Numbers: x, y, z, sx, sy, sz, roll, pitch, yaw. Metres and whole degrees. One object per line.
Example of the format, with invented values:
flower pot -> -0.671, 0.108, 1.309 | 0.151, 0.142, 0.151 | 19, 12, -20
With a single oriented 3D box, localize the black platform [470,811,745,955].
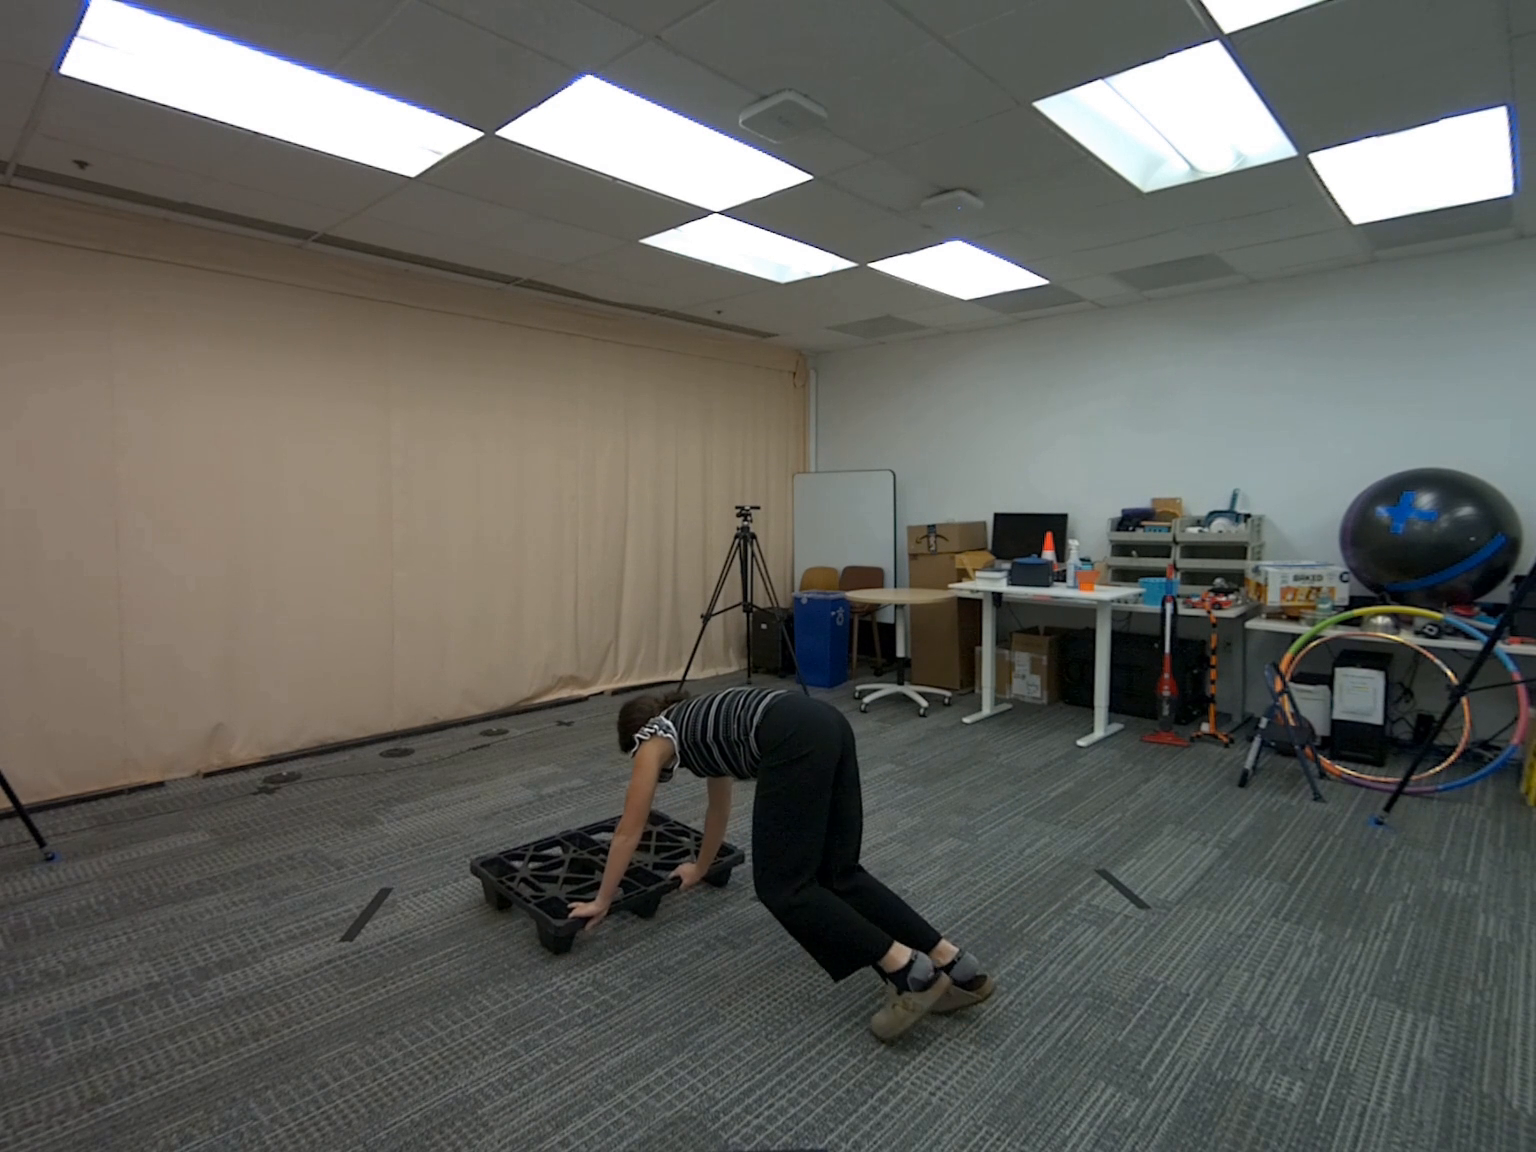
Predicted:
black platform -> -0.569, 1.075, 3.024 | 0.781, 0.143, 0.625 | -5, 7, -44
